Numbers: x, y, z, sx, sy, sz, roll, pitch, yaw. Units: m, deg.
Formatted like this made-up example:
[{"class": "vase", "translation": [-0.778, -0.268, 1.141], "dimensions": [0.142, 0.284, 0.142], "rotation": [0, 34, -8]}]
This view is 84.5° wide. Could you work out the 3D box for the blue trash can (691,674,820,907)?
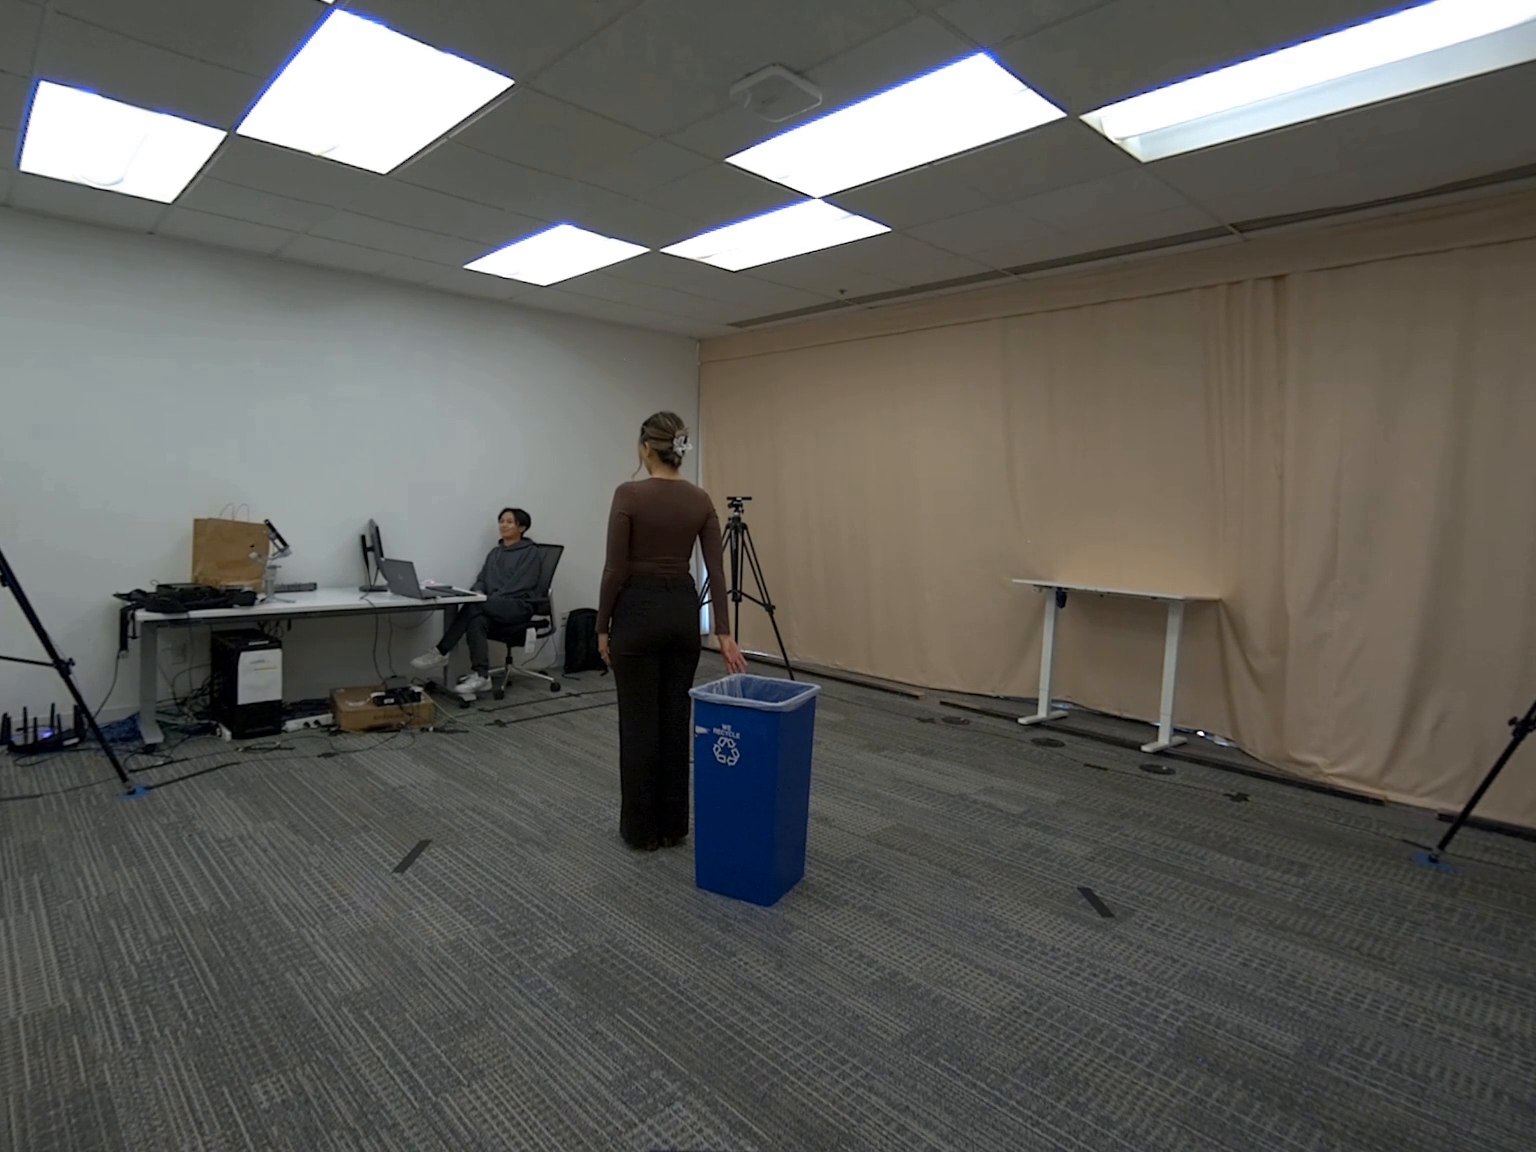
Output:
[{"class": "blue trash can", "translation": [-0.062, 0.754, 3.048], "dimensions": [0.386, 0.711, 0.367], "rotation": [3, 5, 27]}]
